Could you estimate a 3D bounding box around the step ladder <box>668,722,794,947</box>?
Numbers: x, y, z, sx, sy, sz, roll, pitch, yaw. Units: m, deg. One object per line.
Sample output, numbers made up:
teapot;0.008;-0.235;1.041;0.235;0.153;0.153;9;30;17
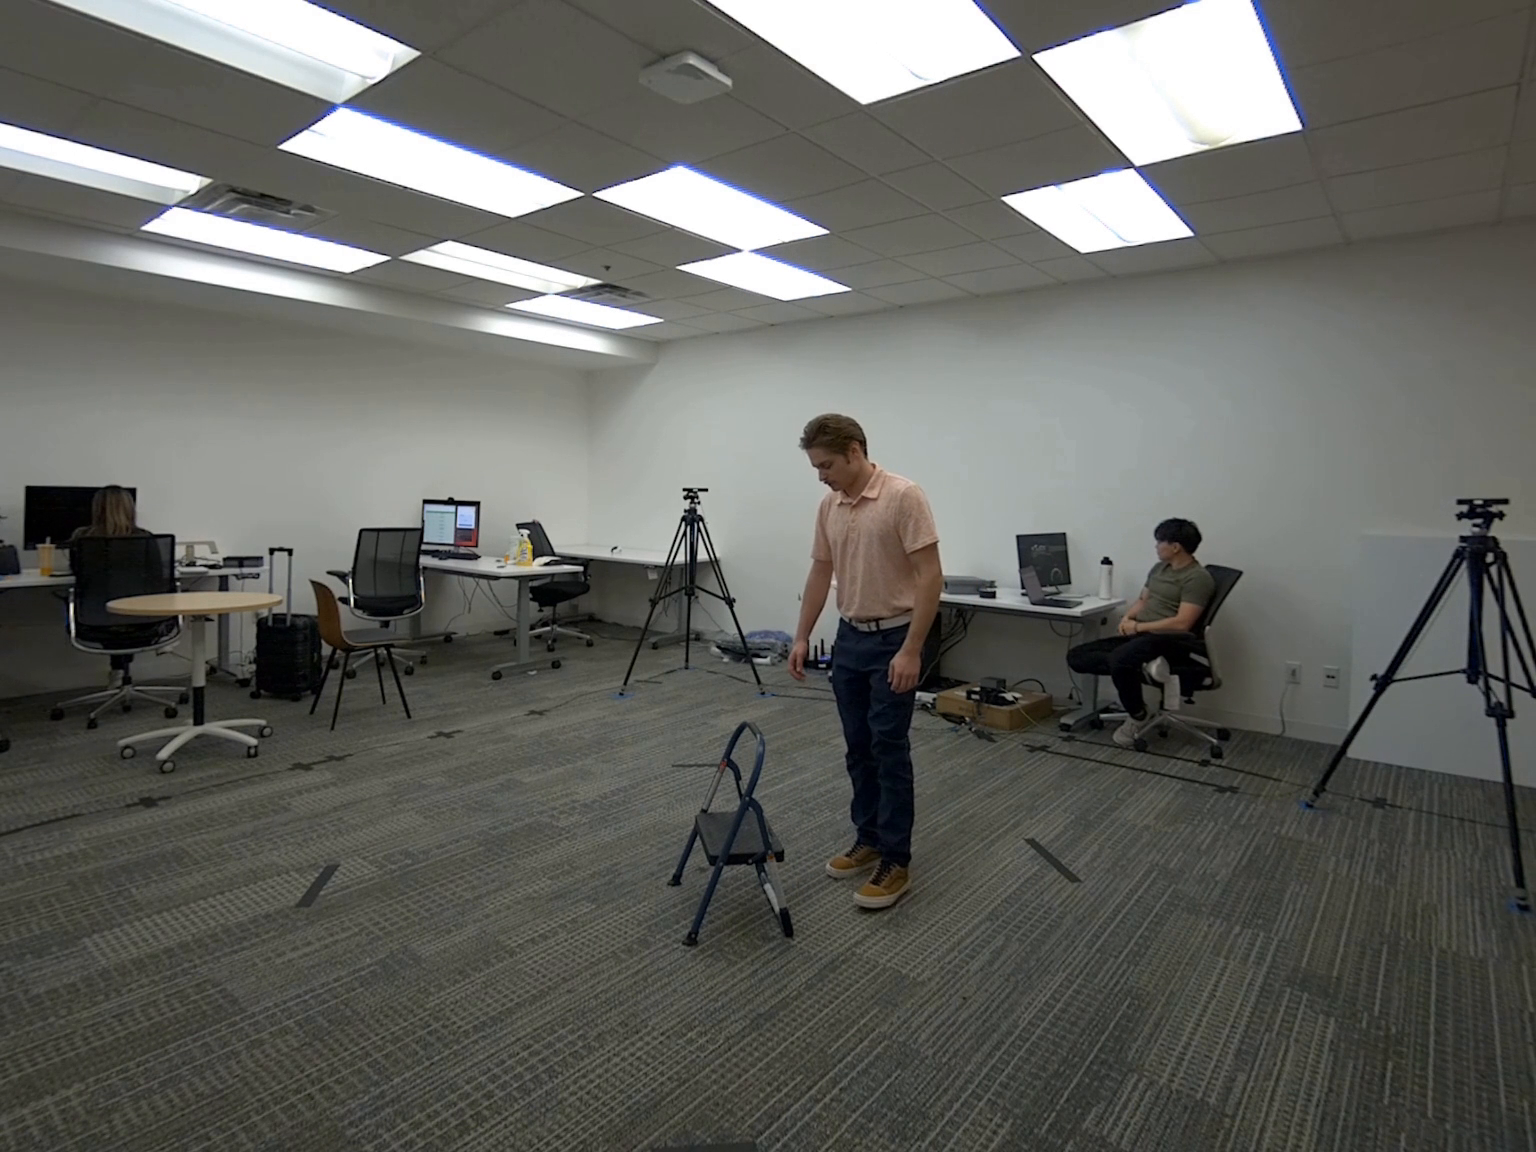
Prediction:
step ladder;-0.127;0.805;2.798;0.345;0.604;0.438;-1;4;-13
